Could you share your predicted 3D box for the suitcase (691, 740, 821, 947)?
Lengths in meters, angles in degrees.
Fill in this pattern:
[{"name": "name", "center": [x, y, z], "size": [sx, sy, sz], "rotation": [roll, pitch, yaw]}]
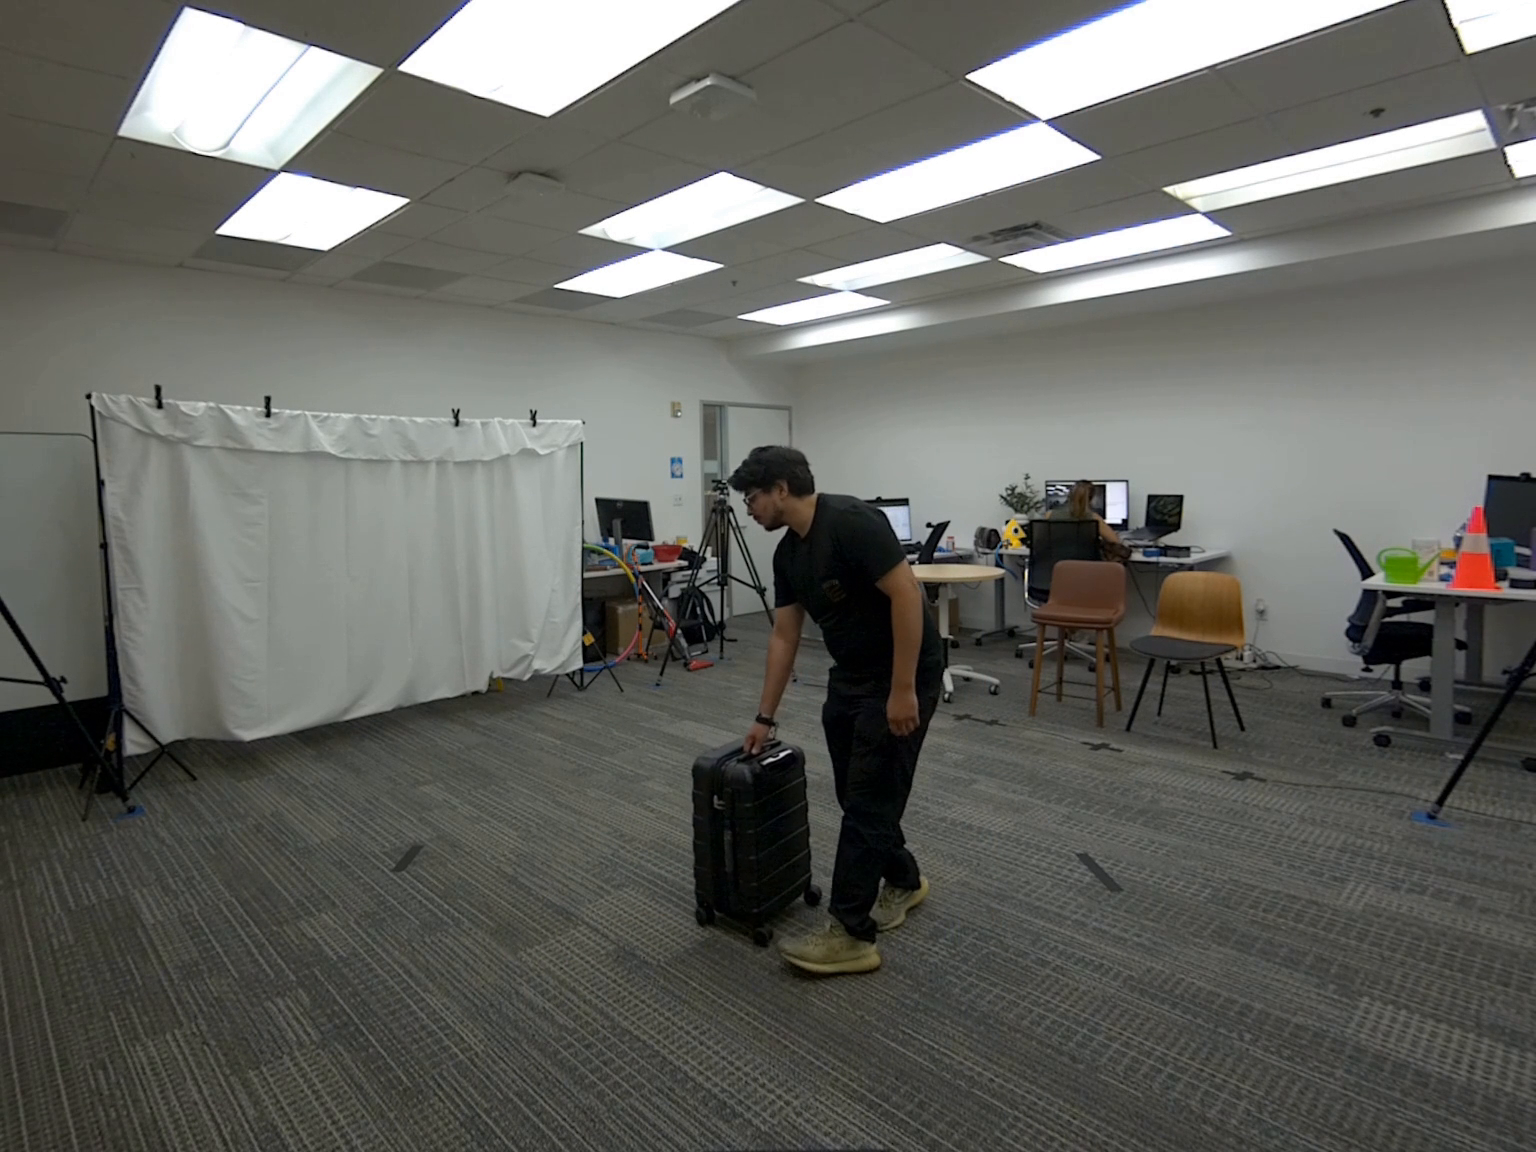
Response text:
[{"name": "suitcase", "center": [-0.042, 0.815, 2.752], "size": [0.255, 0.549, 0.366], "rotation": [-2, 2, 36]}]
